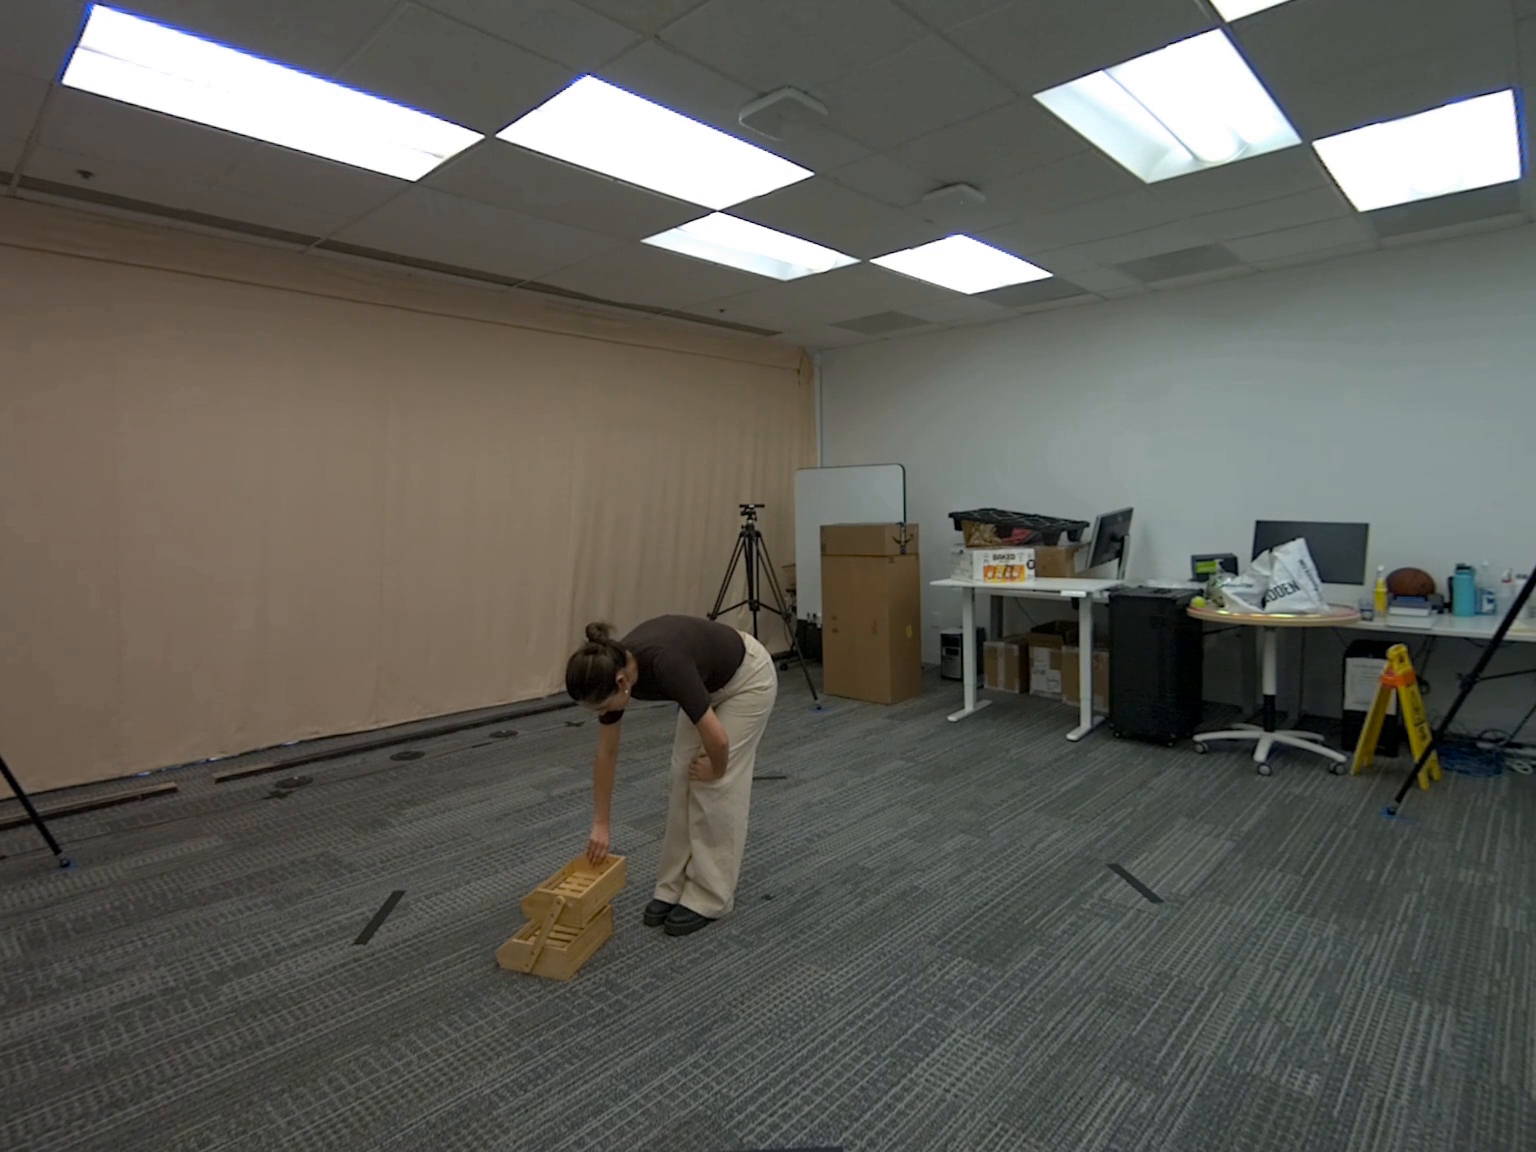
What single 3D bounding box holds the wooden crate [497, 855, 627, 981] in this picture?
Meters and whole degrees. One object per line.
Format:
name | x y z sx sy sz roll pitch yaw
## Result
wooden crate | -0.647 1.048 2.646 0.308 0.273 0.318 1 4 19
